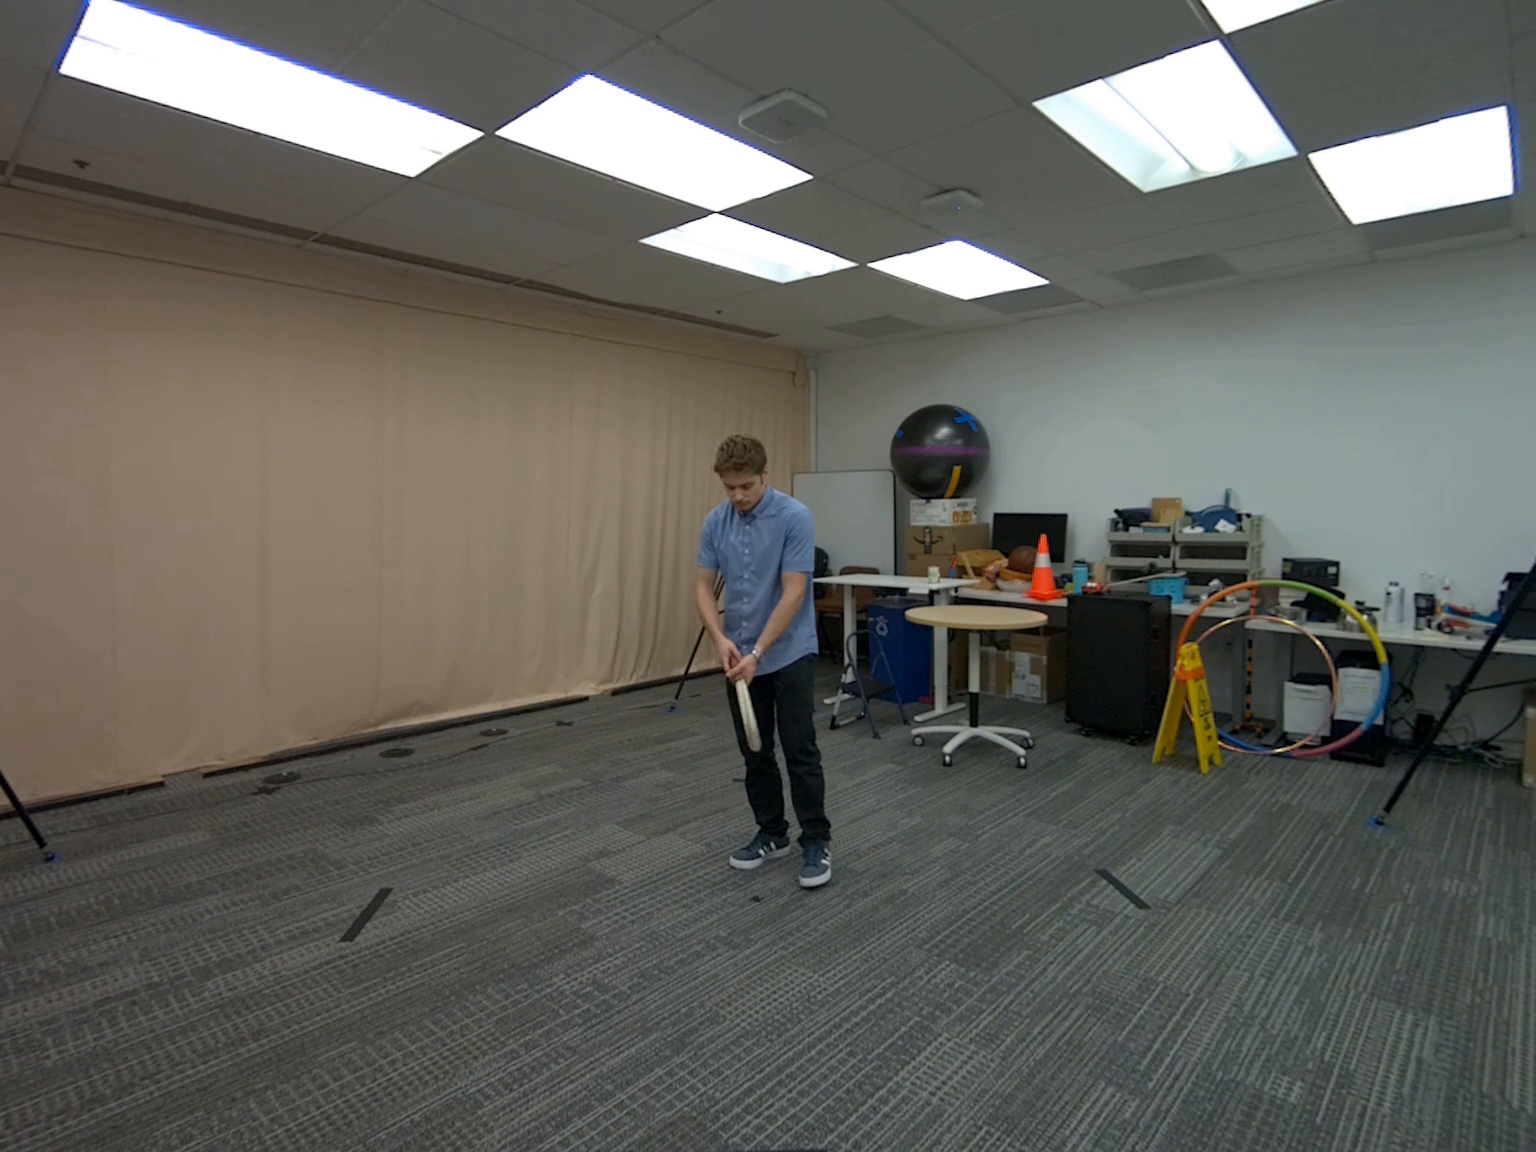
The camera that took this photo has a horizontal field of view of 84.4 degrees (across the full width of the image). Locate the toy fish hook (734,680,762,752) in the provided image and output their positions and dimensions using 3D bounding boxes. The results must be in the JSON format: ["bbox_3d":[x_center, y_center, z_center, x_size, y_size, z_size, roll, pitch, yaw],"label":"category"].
[{"bbox_3d":[-0.072,0.377,2.941,0.048,0.221,0.517,-1,38,-6],"label":"toy fish hook"}]
